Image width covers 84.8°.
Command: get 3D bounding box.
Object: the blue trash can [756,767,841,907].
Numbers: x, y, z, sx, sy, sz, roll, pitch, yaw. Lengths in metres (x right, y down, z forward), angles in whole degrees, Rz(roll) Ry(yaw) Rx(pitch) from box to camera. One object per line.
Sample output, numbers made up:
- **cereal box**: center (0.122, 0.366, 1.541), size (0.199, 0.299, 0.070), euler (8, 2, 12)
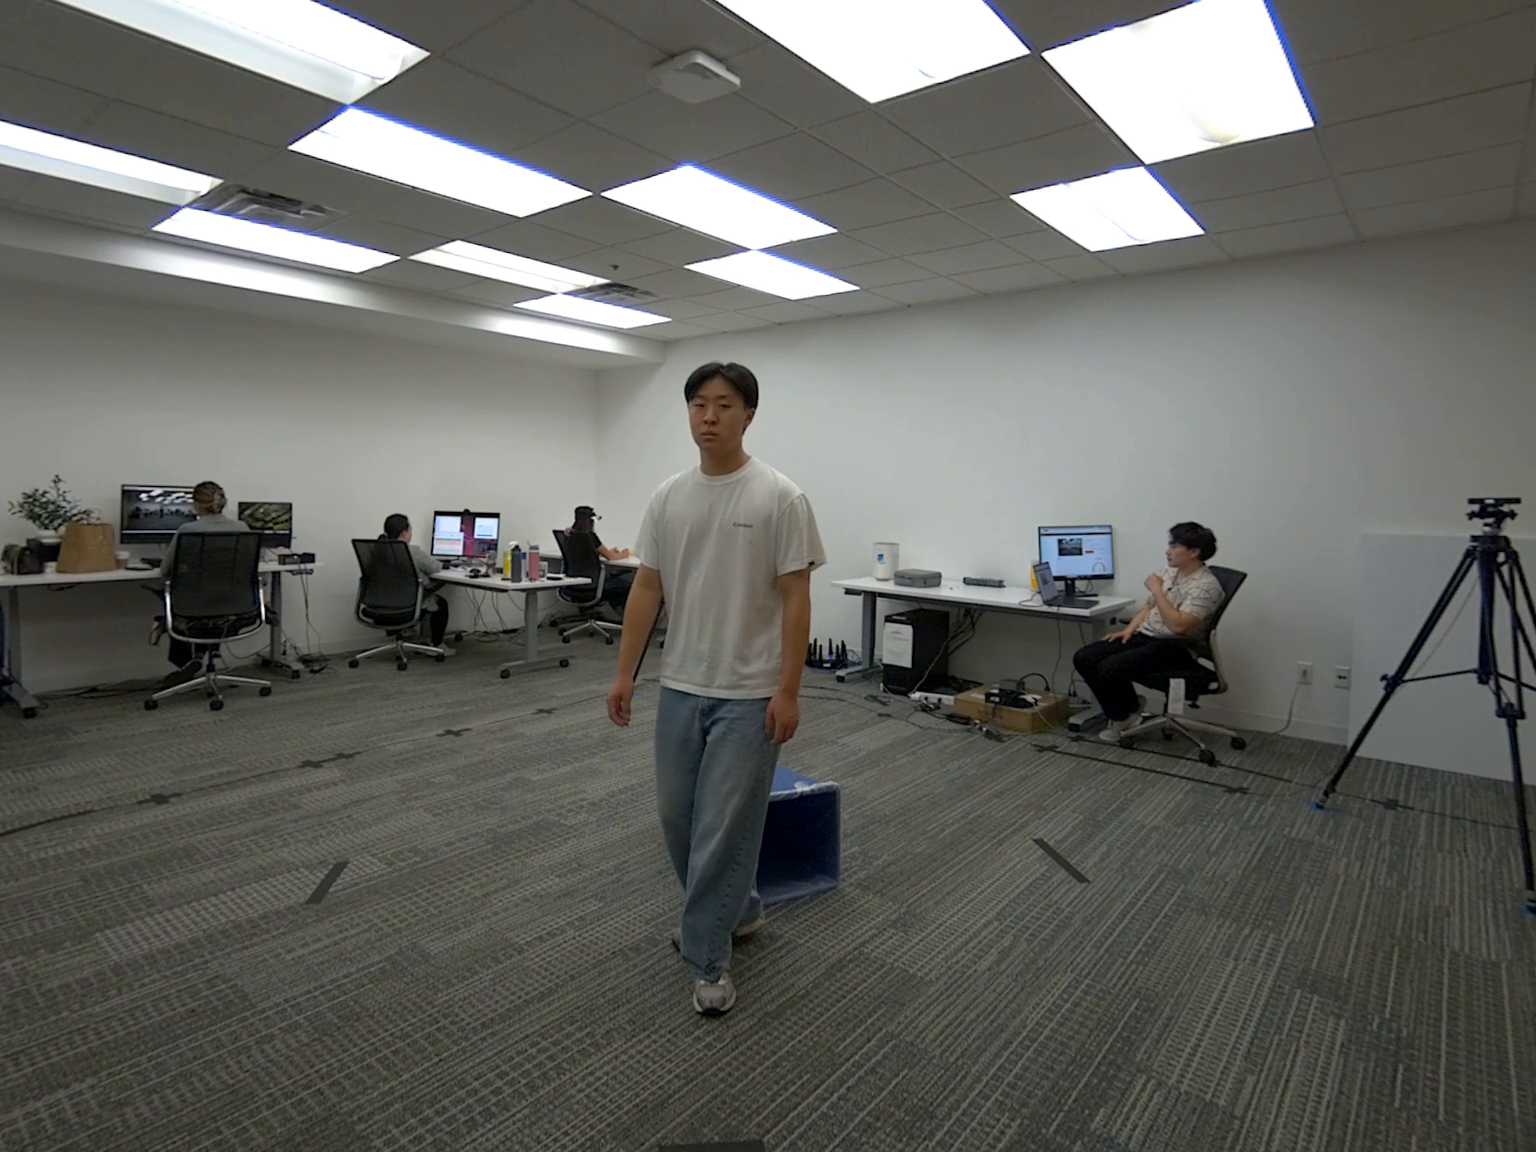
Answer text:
- **blue trash can**: center (-0.091, 0.895, 3.201), size (0.364, 0.378, 0.734), euler (-1, 3, -31)
